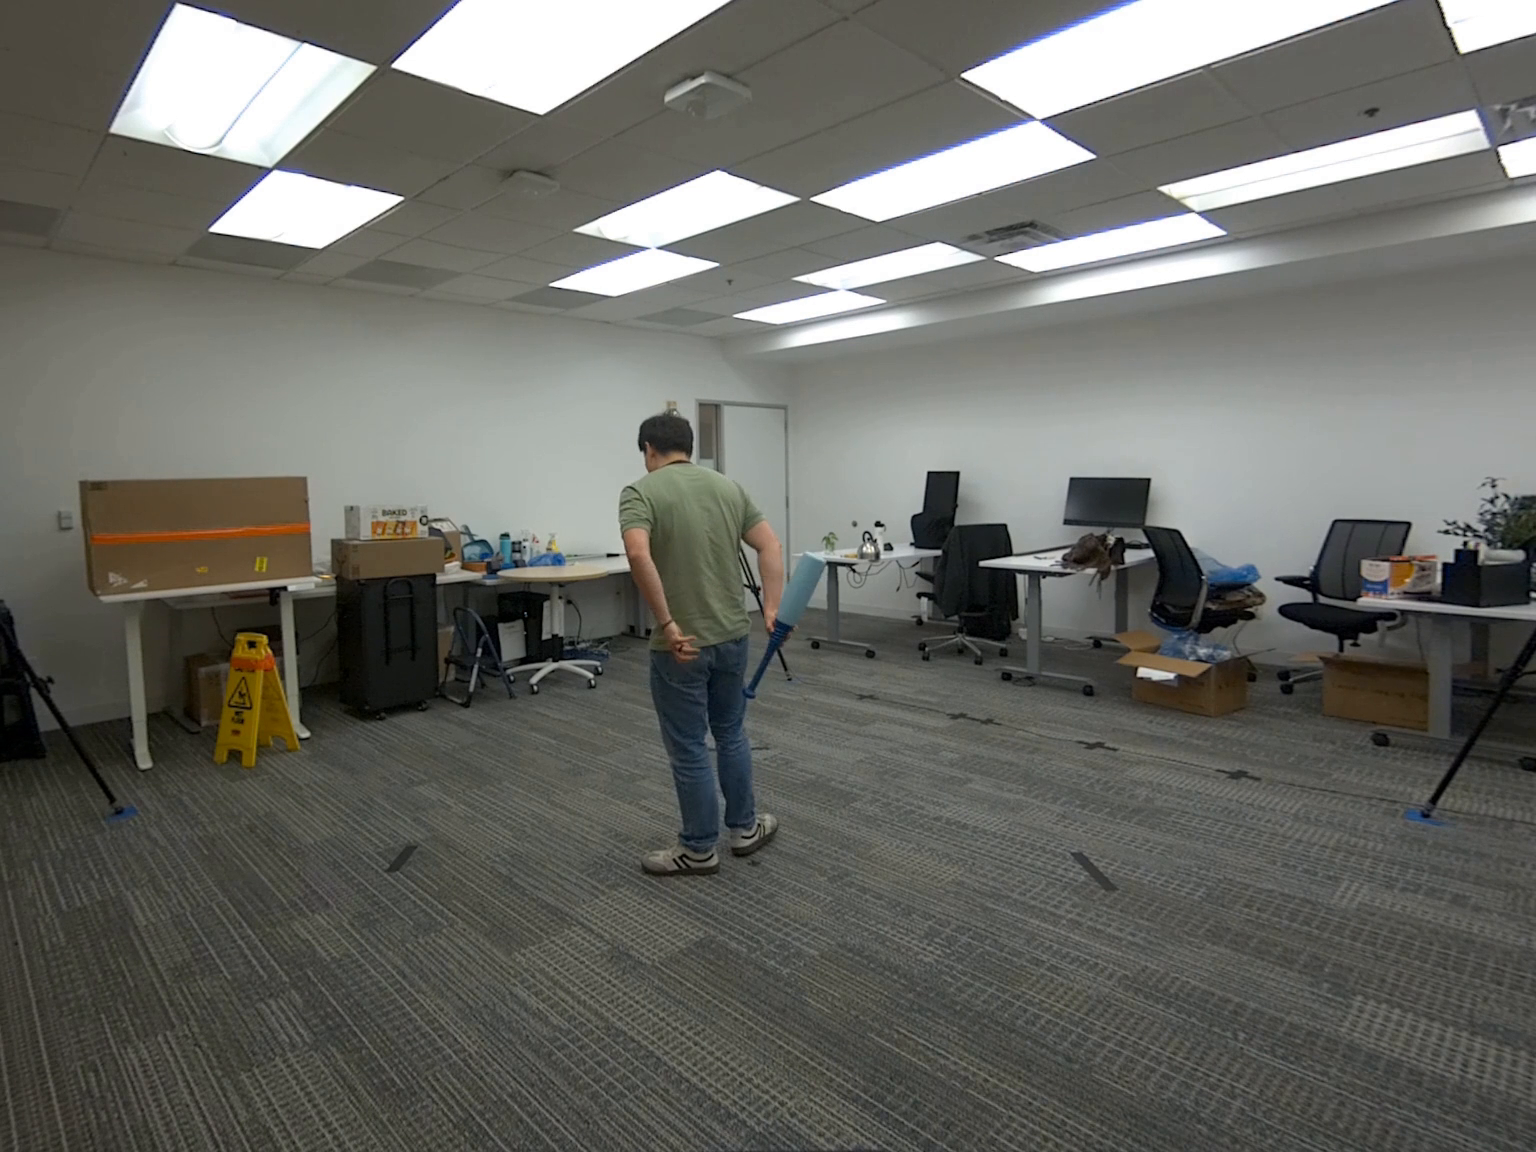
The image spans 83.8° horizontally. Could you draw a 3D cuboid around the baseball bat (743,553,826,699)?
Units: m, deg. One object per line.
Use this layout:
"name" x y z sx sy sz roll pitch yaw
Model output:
"baseball bat" 0.034 0.179 2.898 0.088 0.541 0.090 24 7 -6
